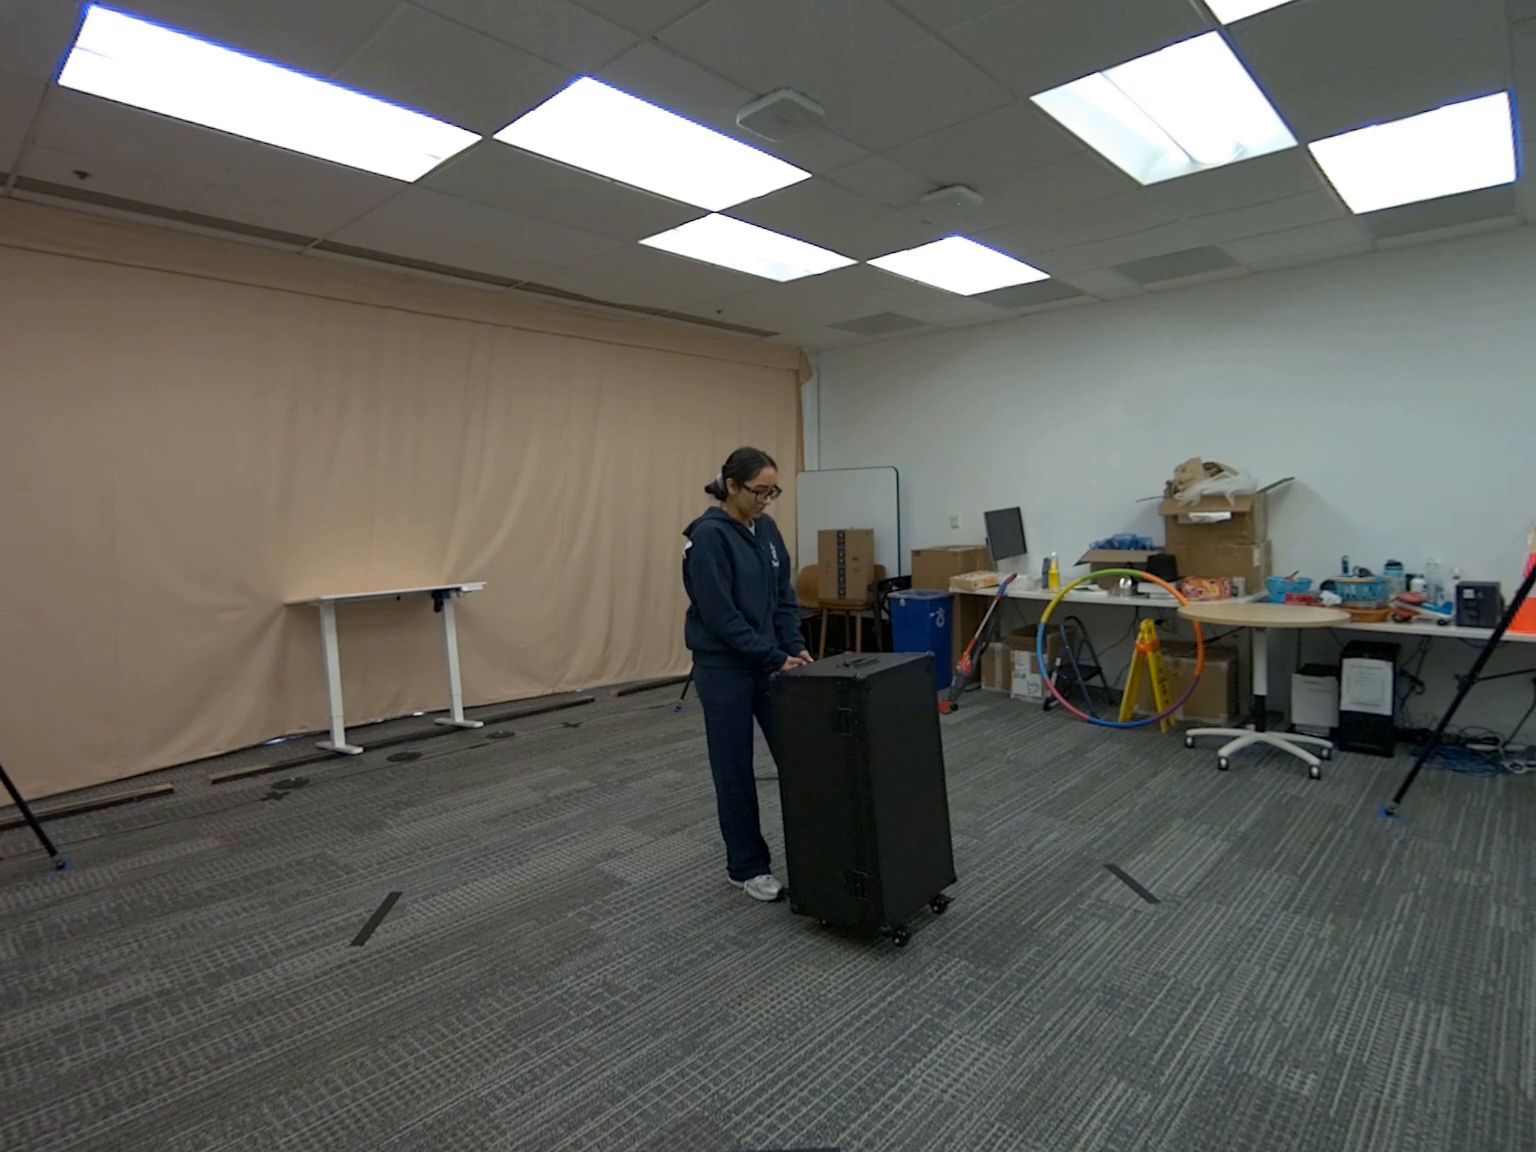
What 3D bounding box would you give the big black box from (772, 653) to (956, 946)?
[{"bbox_3d":[0.325,0.719,2.811,0.408,0.862,0.506,-6,0,38],"label":"big black box"}]
